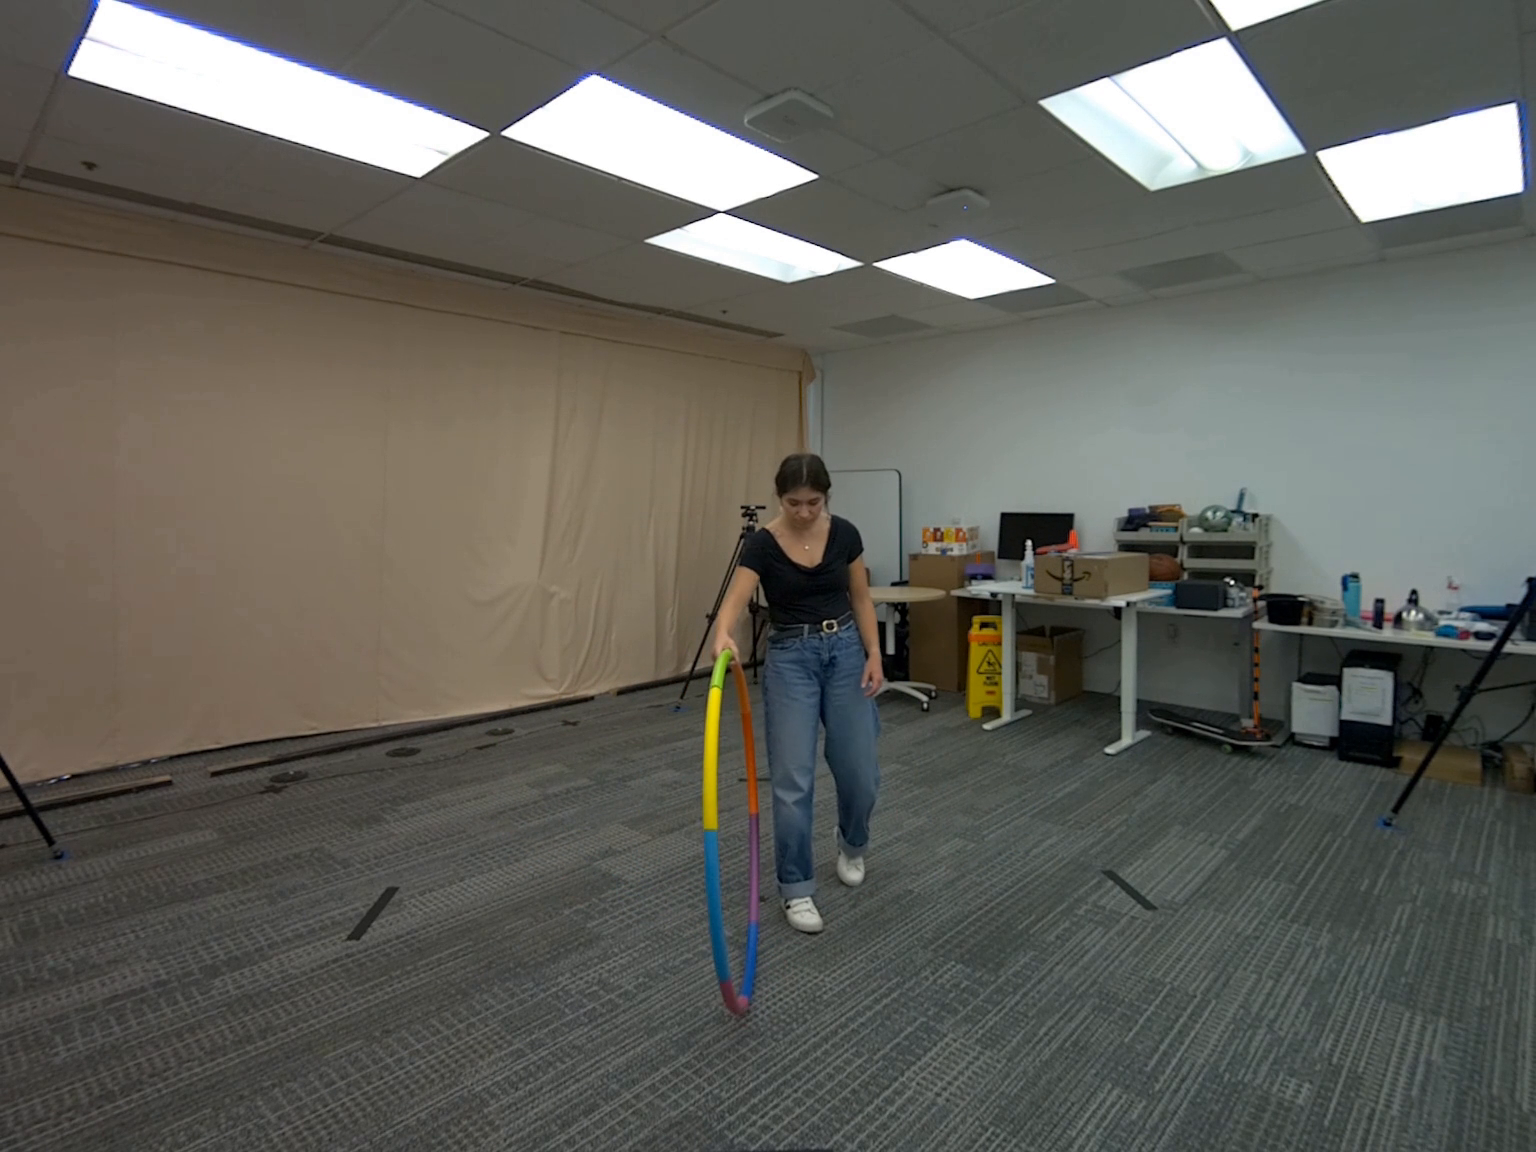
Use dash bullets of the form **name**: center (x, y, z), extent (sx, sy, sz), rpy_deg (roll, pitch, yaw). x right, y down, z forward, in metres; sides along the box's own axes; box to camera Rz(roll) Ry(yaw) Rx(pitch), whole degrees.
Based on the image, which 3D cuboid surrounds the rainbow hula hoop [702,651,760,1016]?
- **rainbow hula hoop**: center (-0.081, 0.713, 2.422), extent (0.036, 0.977, 0.974), rpy_deg (-4, 3, 5)
